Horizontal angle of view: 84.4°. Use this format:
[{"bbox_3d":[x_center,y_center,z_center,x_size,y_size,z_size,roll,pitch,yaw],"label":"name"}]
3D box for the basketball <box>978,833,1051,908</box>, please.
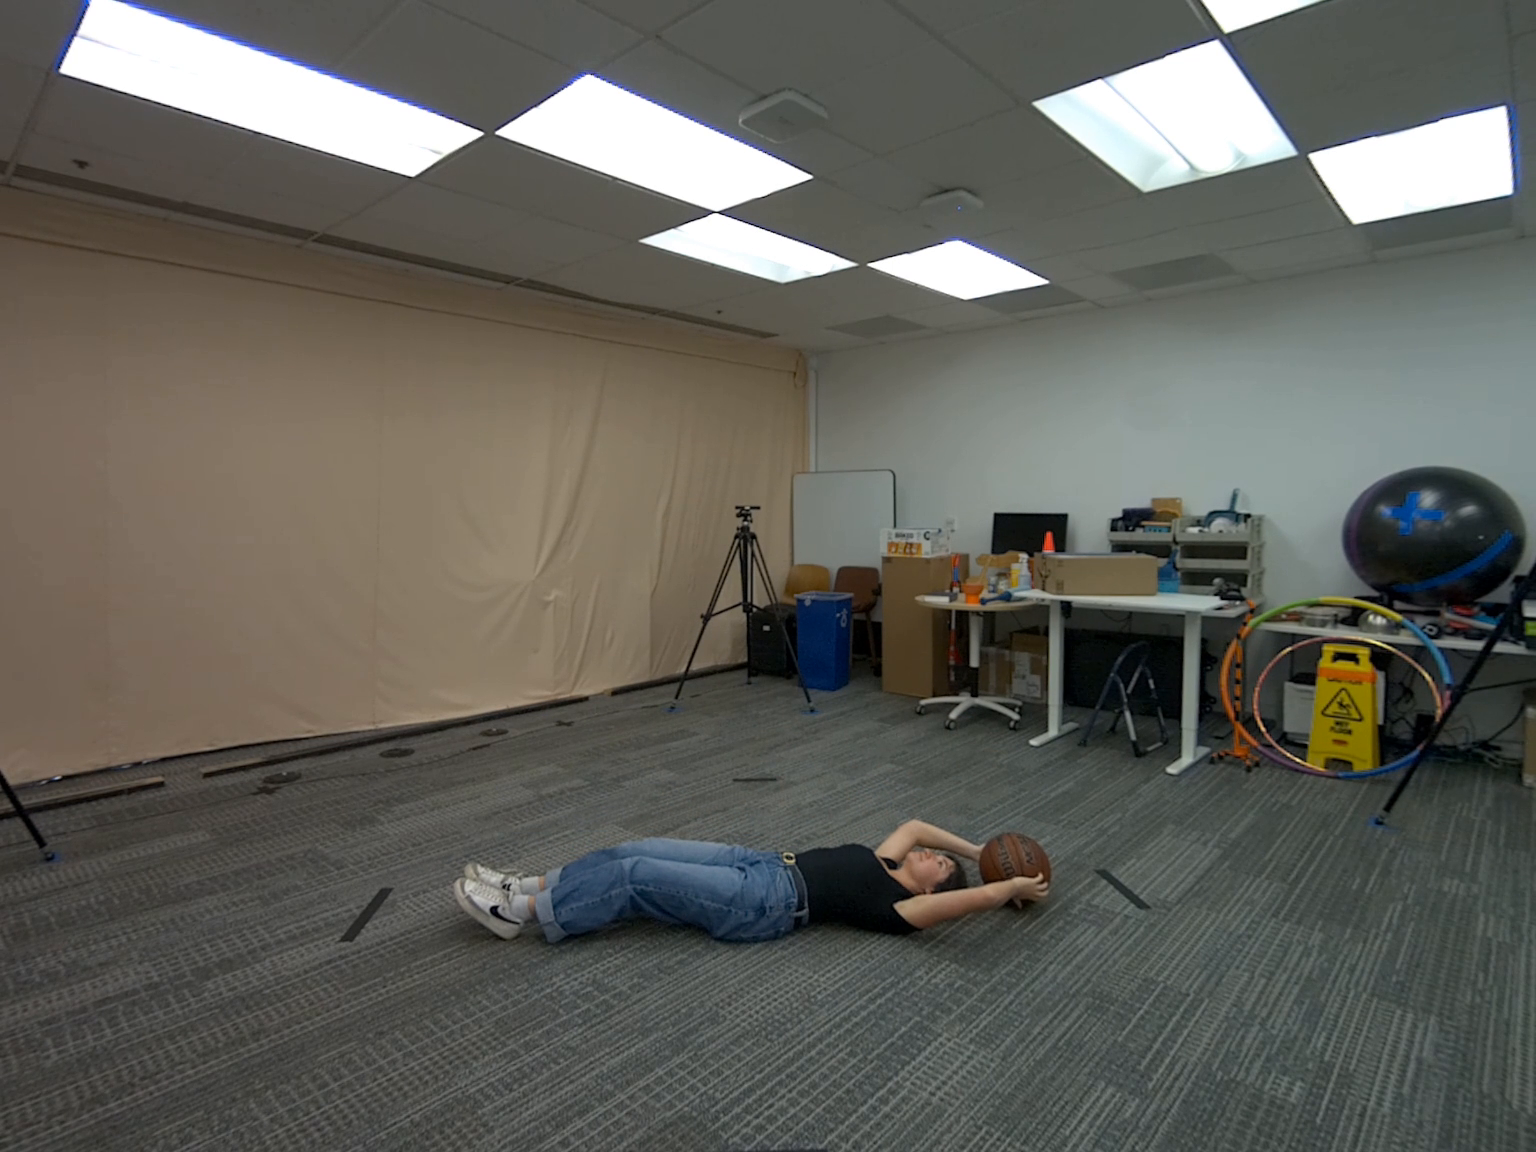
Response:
[{"bbox_3d":[0.877,1.023,2.952,0.236,0.235,0.237,0,4,-2],"label":"basketball"}]
